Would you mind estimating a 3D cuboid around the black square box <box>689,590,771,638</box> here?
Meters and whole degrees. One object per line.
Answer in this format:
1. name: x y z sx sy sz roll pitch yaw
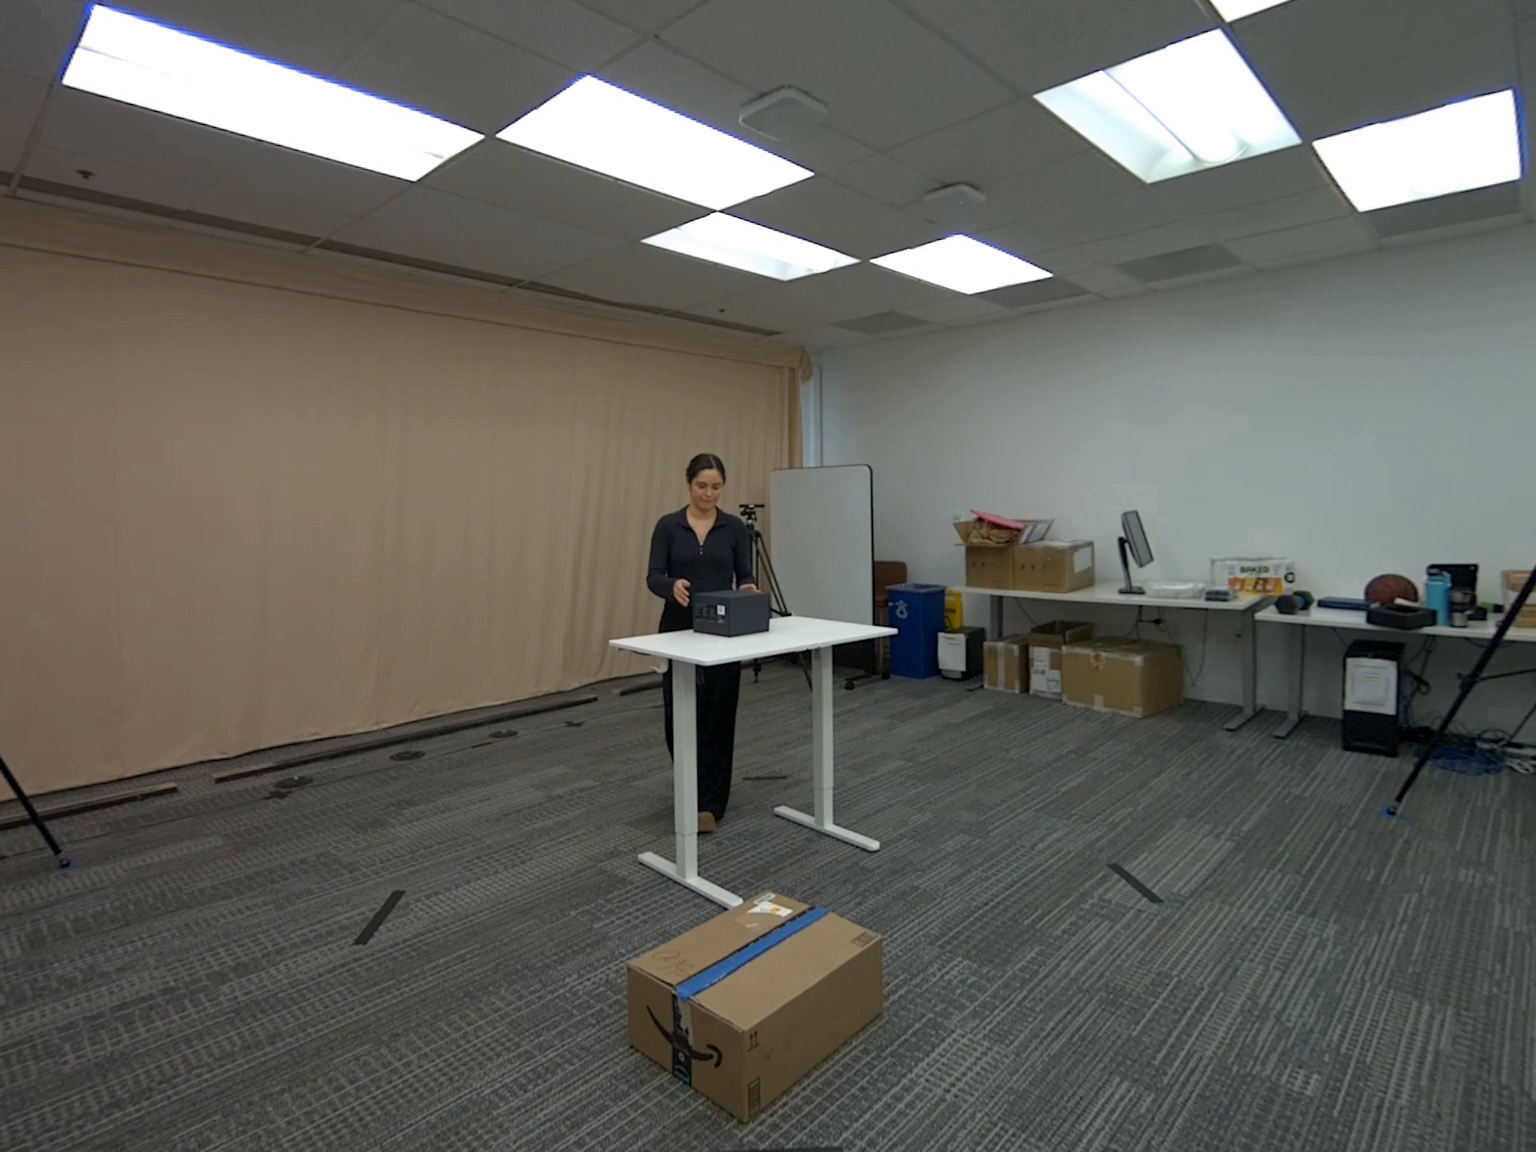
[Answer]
1. black square box: -0.146 0.147 3.392 0.221 0.155 0.224 -5 6 -44
